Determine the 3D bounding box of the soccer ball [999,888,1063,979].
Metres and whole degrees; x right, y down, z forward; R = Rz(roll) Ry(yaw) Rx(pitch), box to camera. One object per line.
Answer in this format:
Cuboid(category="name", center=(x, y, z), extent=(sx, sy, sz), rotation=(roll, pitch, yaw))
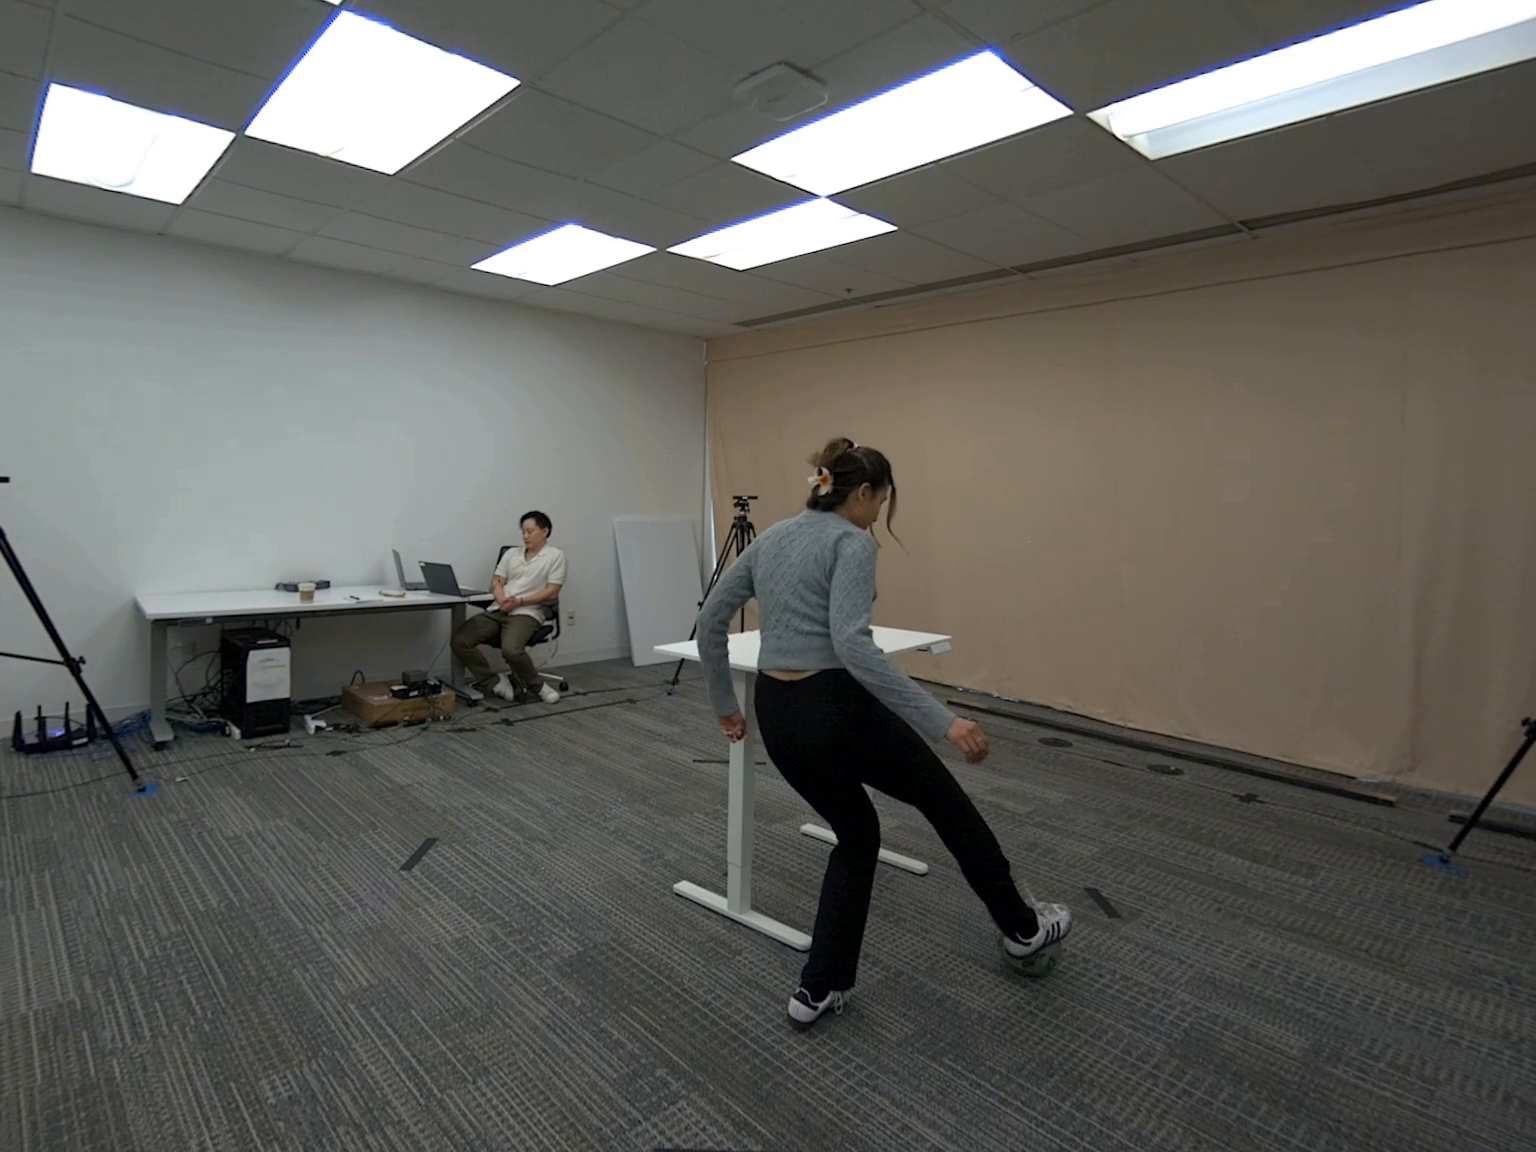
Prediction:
Cuboid(category="soccer ball", center=(0.753, 1.087, 2.521), extent=(0.187, 0.187, 0.188), rotation=(1, 4, -1))
